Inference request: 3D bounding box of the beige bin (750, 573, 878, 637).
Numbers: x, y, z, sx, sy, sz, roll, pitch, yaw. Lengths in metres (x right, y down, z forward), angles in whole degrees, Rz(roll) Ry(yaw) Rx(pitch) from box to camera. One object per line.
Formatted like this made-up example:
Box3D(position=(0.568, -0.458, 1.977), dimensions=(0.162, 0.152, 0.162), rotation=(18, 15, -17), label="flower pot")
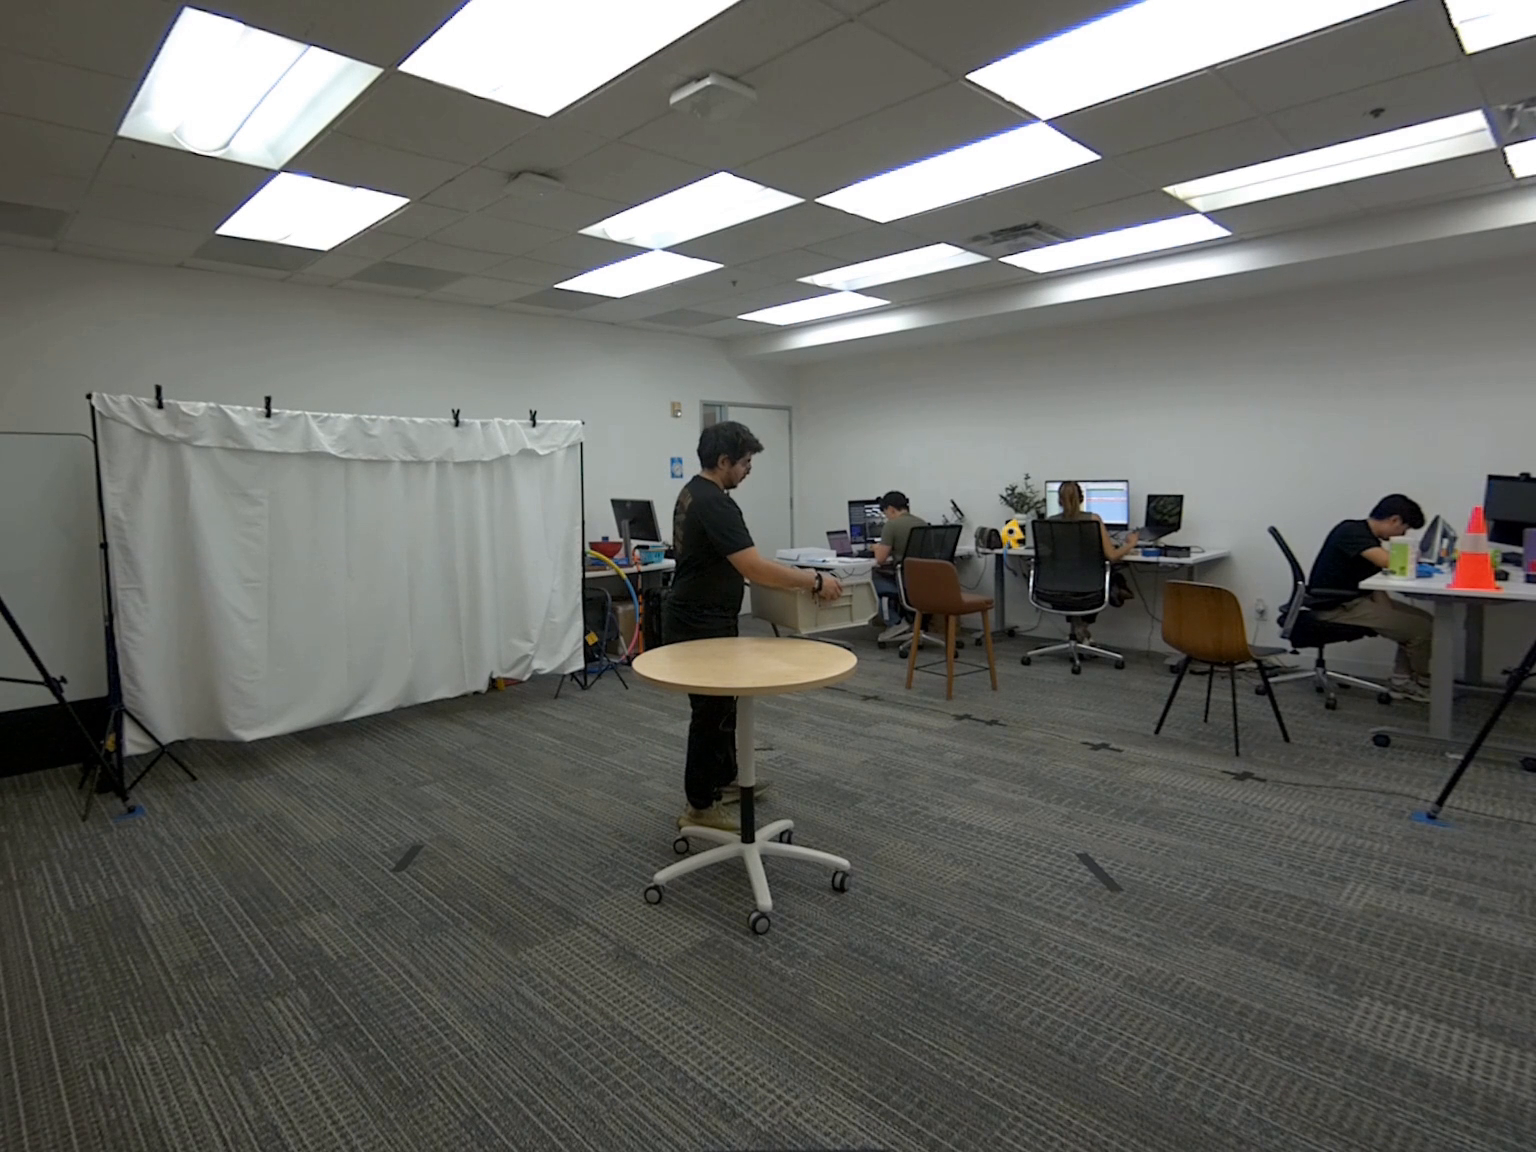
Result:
Box3D(position=(0.173, 0.097, 3.491), dimensions=(0.369, 0.188, 0.434), rotation=(-7, 9, -28), label="beige bin")
